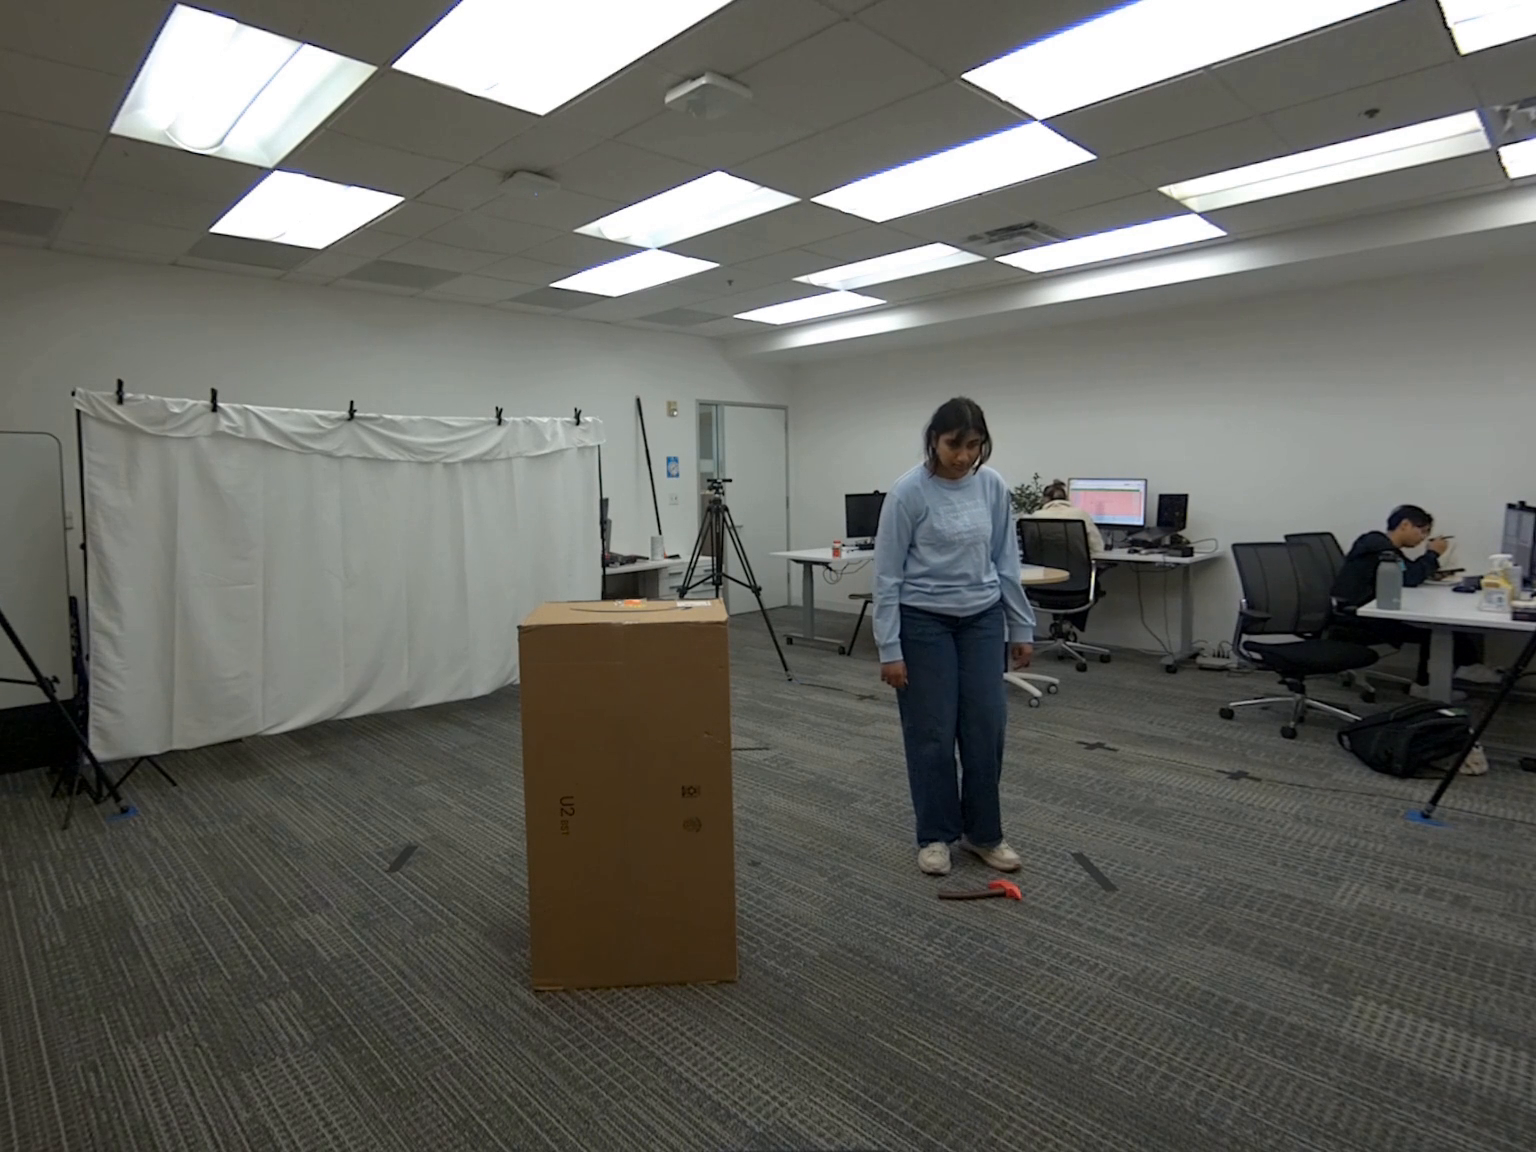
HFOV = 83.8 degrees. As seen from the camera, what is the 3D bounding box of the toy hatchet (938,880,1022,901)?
[{"bbox_3d":[0.702,1.050,2.862,0.272,0.029,0.131,-1,7,7],"label":"toy hatchet"}]
